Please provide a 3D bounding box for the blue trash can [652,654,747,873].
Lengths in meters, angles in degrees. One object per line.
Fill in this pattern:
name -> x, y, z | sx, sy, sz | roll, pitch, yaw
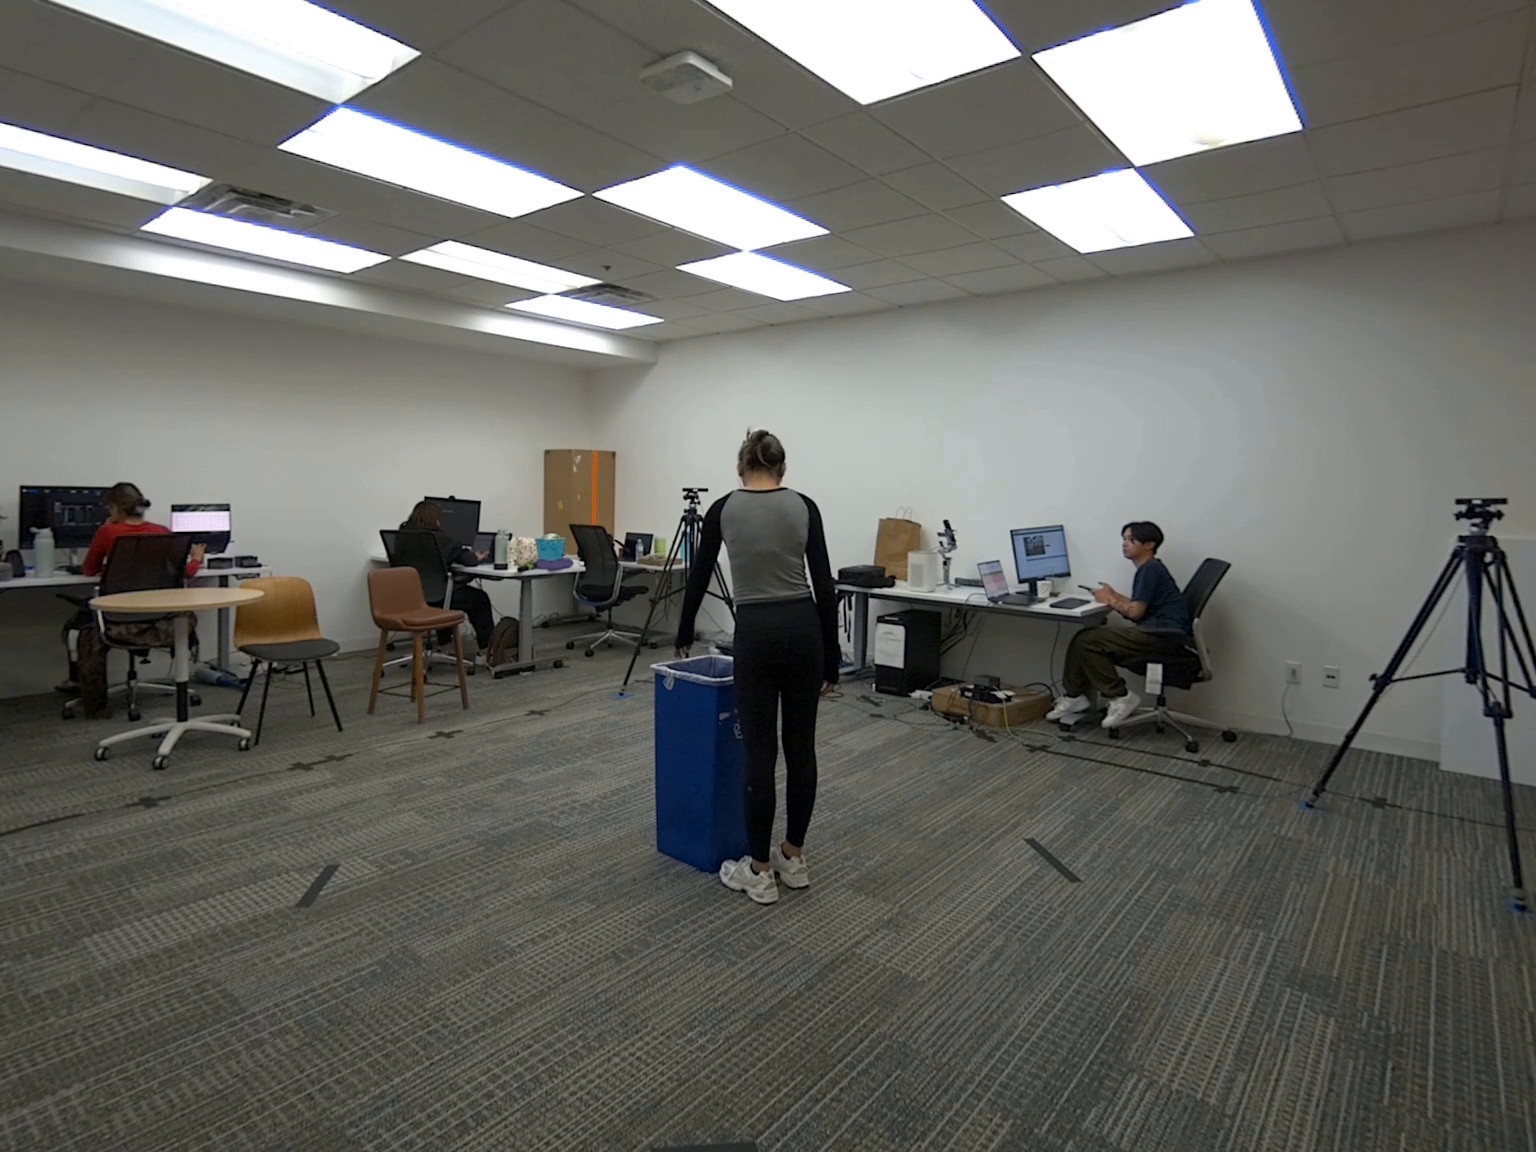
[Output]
blue trash can -> -0.223, 0.695, 3.268 | 0.391, 0.711, 0.363 | 4, 4, 40
